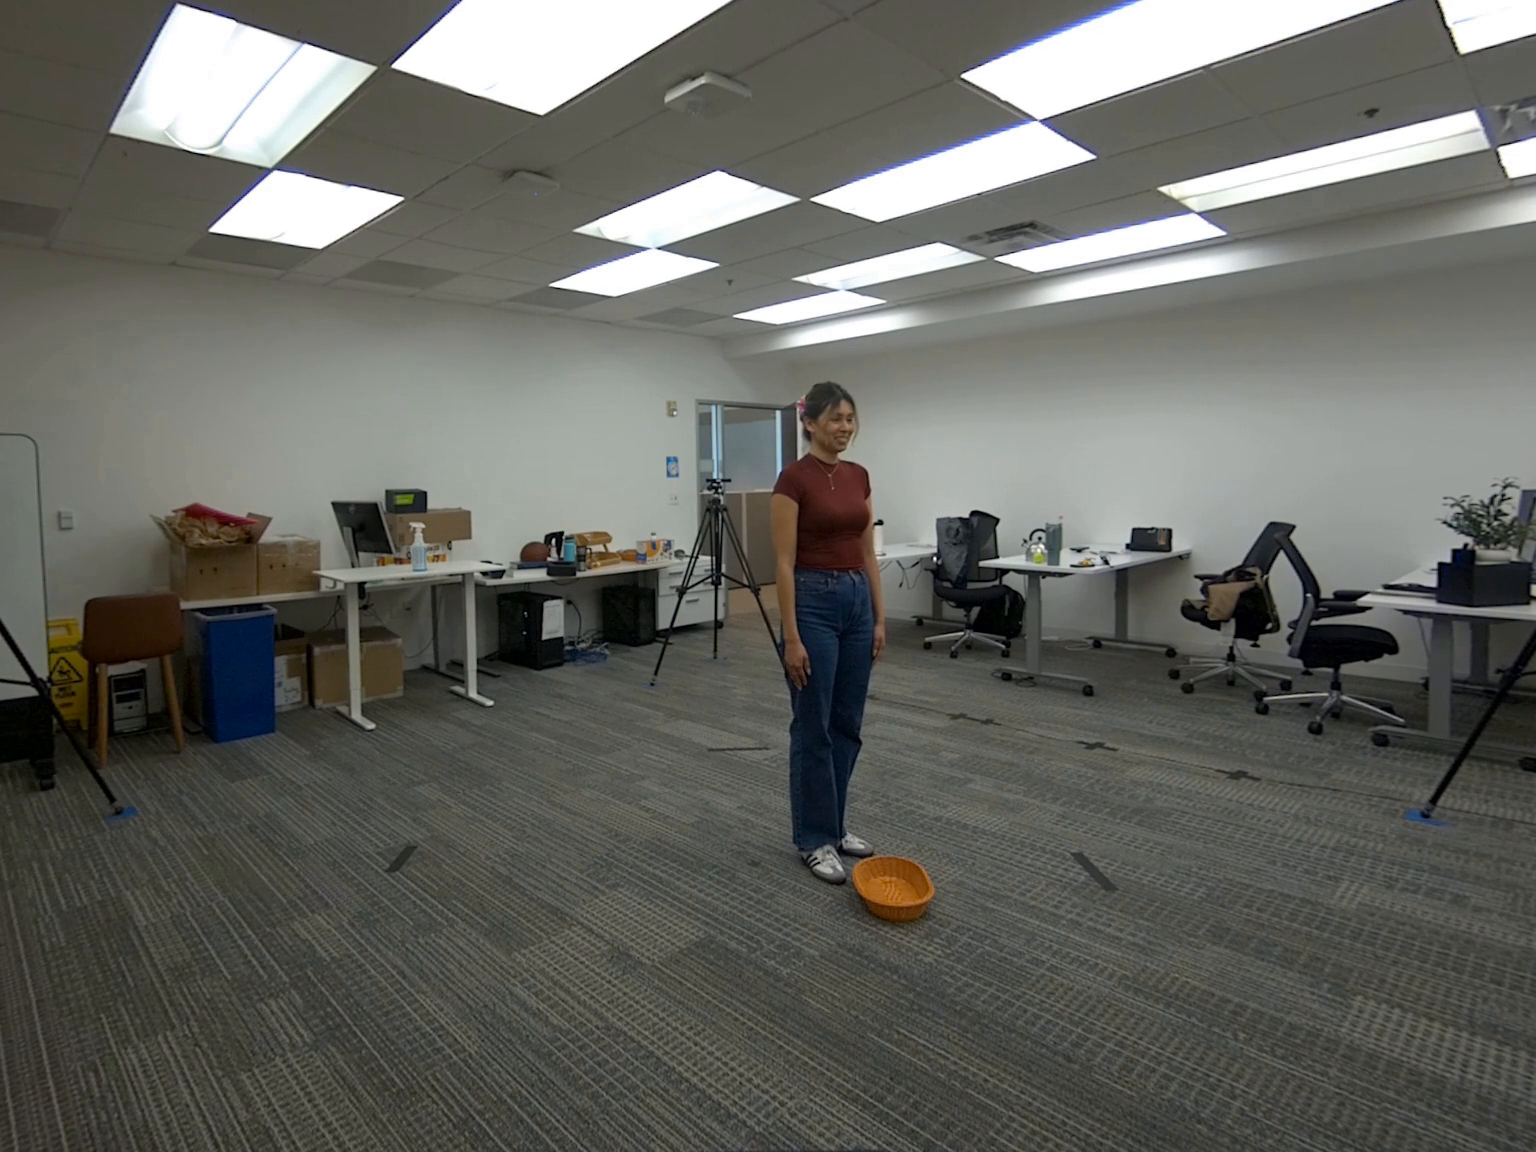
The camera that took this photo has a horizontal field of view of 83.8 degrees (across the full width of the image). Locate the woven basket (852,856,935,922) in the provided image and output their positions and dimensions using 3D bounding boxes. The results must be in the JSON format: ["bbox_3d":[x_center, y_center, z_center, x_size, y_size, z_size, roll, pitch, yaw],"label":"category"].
[{"bbox_3d":[0.410,1.031,2.817,0.253,0.073,0.352,-2,7,0],"label":"woven basket"}]
